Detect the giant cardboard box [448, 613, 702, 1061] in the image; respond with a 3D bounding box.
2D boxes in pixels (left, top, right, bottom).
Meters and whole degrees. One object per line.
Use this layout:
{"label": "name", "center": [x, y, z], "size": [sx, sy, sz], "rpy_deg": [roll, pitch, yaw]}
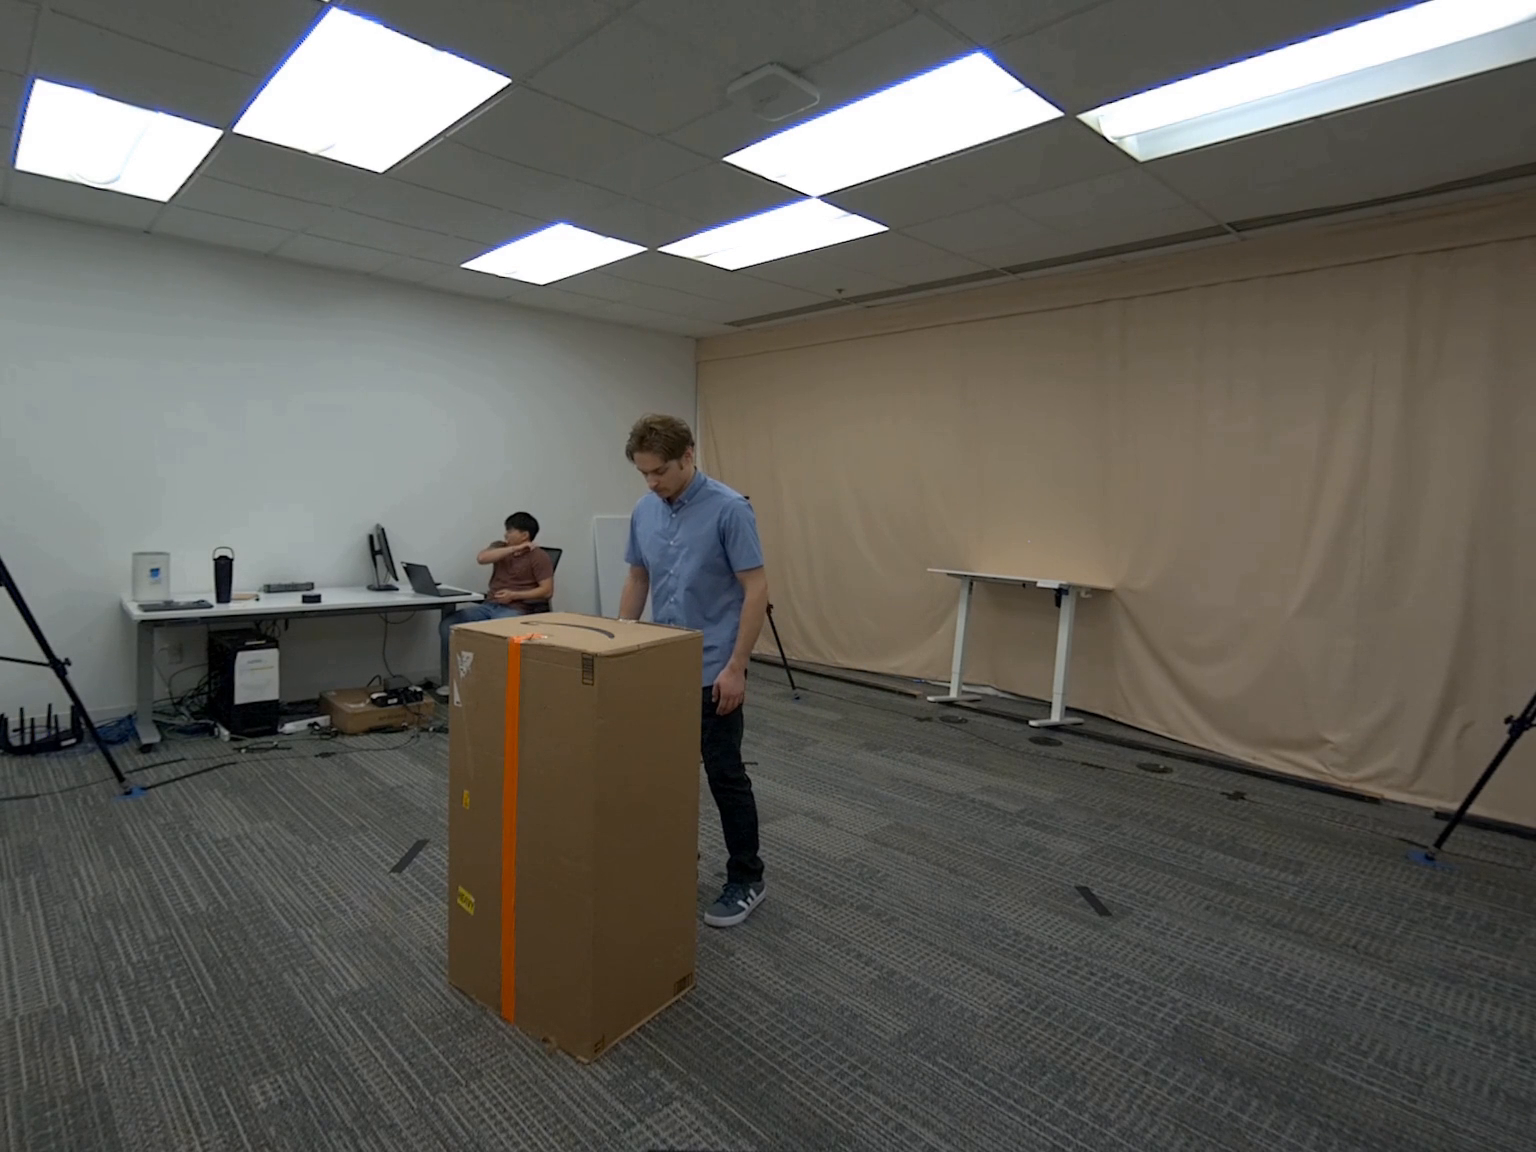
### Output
{"label": "giant cardboard box", "center": [-0.553, 0.657, 2.348], "size": [0.591, 1.023, 0.417], "rpy_deg": [4, 4, 36]}
